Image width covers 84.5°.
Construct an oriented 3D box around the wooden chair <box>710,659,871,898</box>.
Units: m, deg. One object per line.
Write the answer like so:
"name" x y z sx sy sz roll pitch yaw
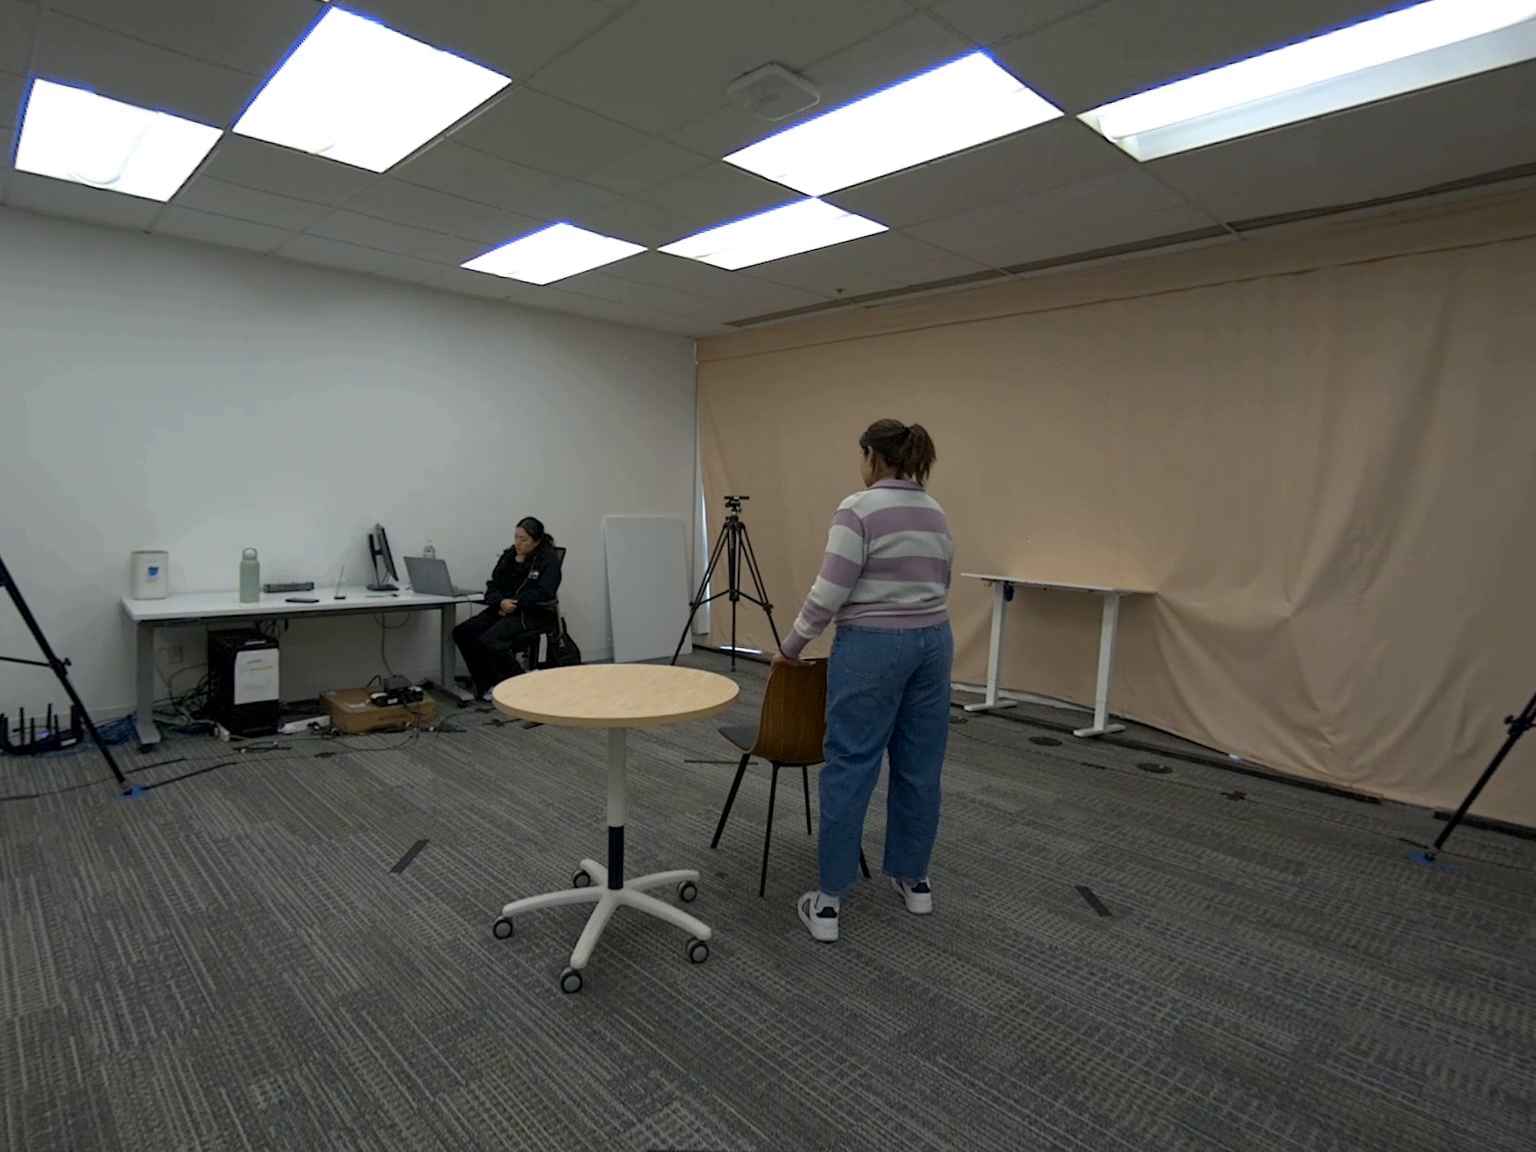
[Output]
"wooden chair" 0.077 0.674 3.206 0.469 0.873 0.535 0 8 -25
